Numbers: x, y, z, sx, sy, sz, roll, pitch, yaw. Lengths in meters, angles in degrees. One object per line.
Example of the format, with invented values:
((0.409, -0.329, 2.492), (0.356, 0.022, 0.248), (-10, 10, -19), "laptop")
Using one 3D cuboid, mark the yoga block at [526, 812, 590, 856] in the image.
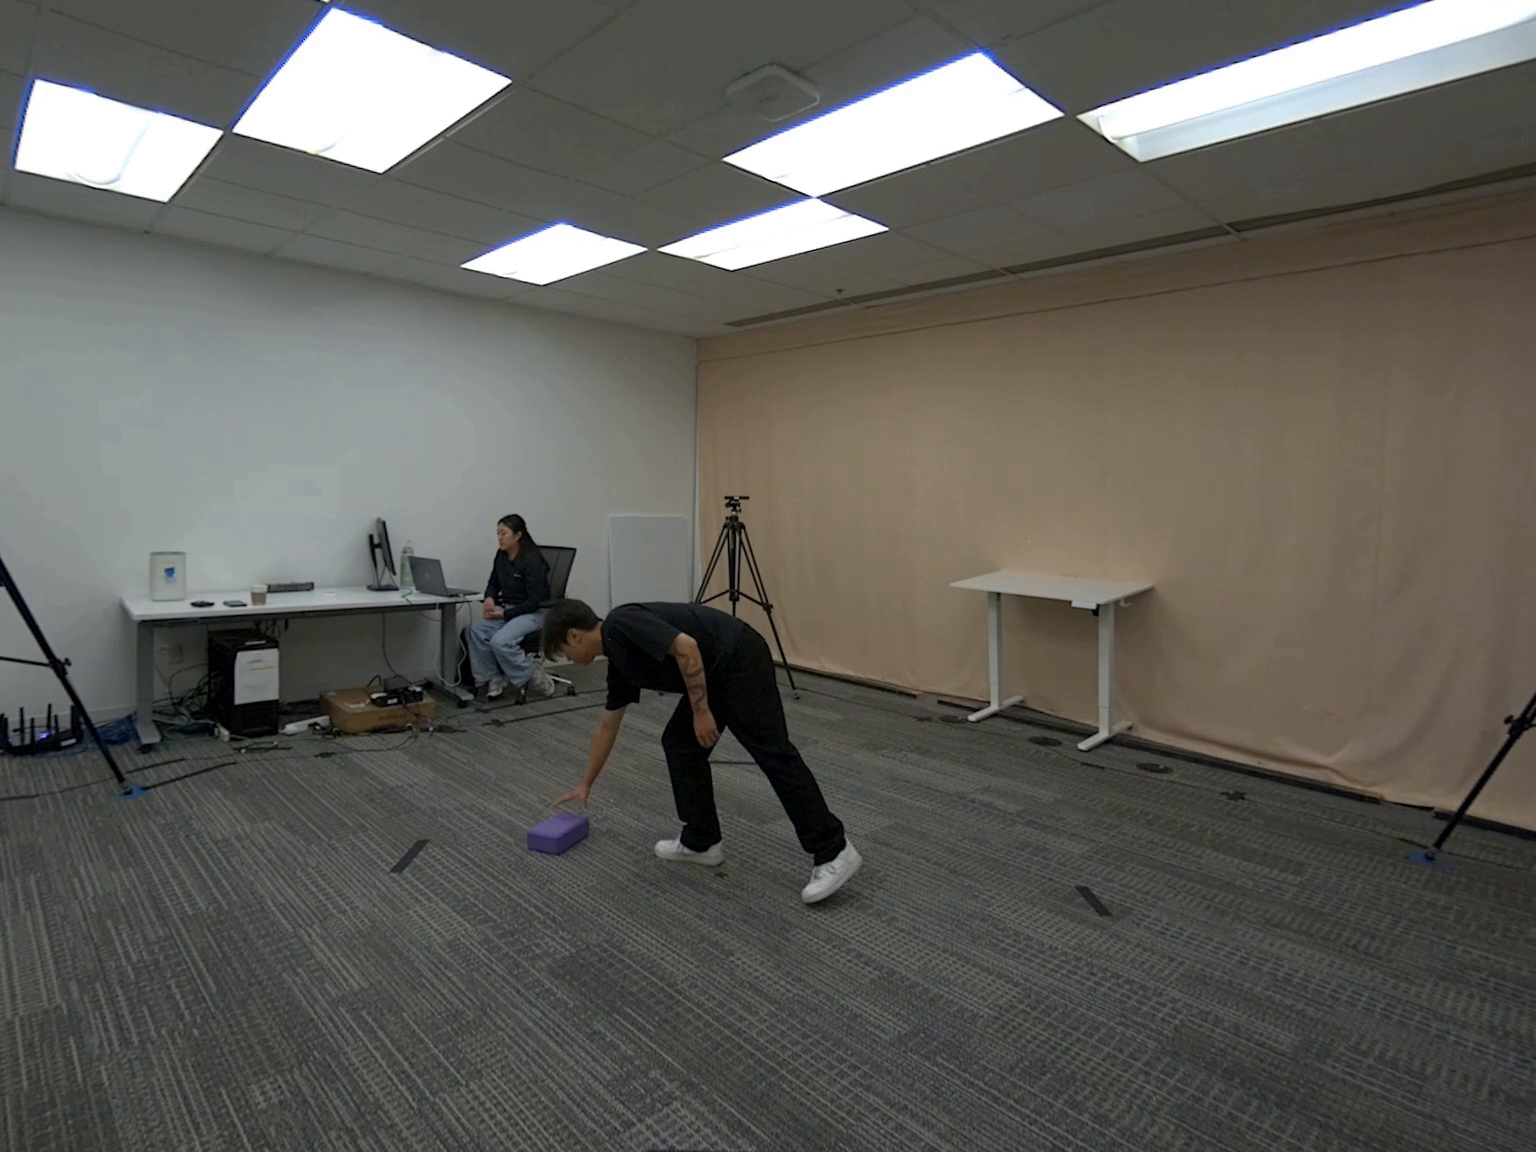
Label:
((-0.841, 1.023, 3.360), (0.151, 0.076, 0.226), (3, 5, 22), "yoga block")
